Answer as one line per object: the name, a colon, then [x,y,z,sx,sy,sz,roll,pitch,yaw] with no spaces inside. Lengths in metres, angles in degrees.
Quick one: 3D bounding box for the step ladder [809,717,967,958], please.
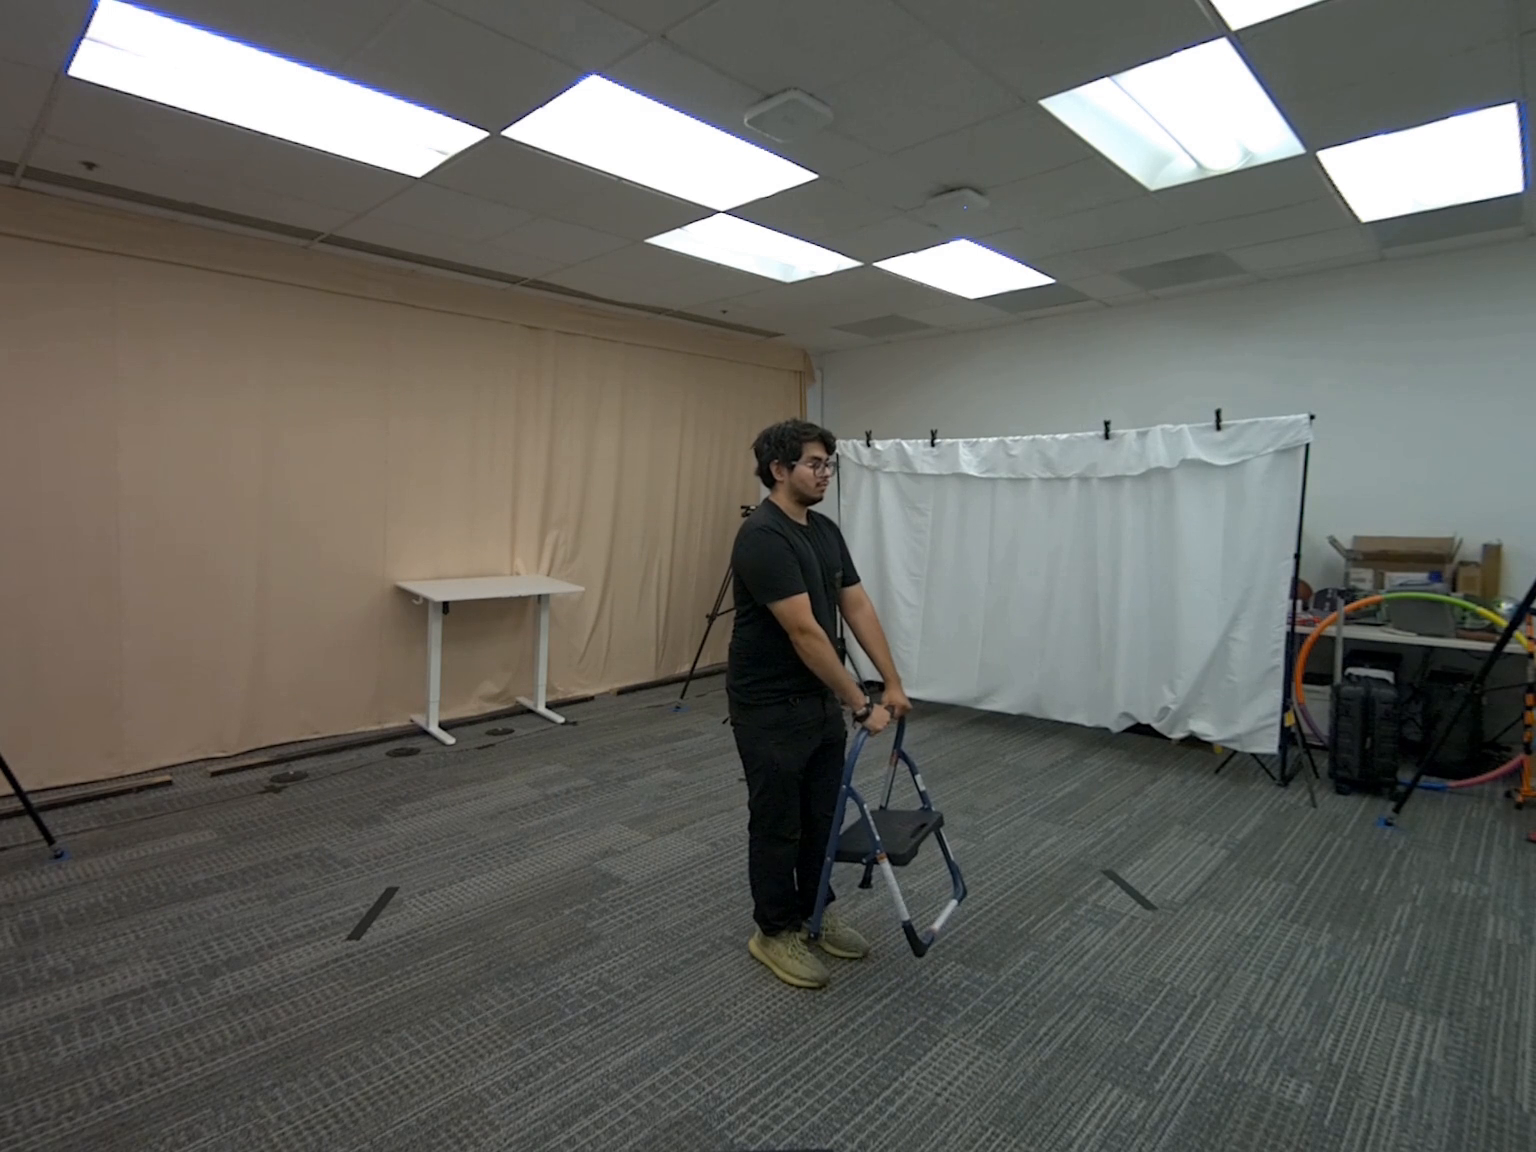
step ladder: [0.322,0.695,2.435,0.358,0.606,0.419,-9,-1,30]
